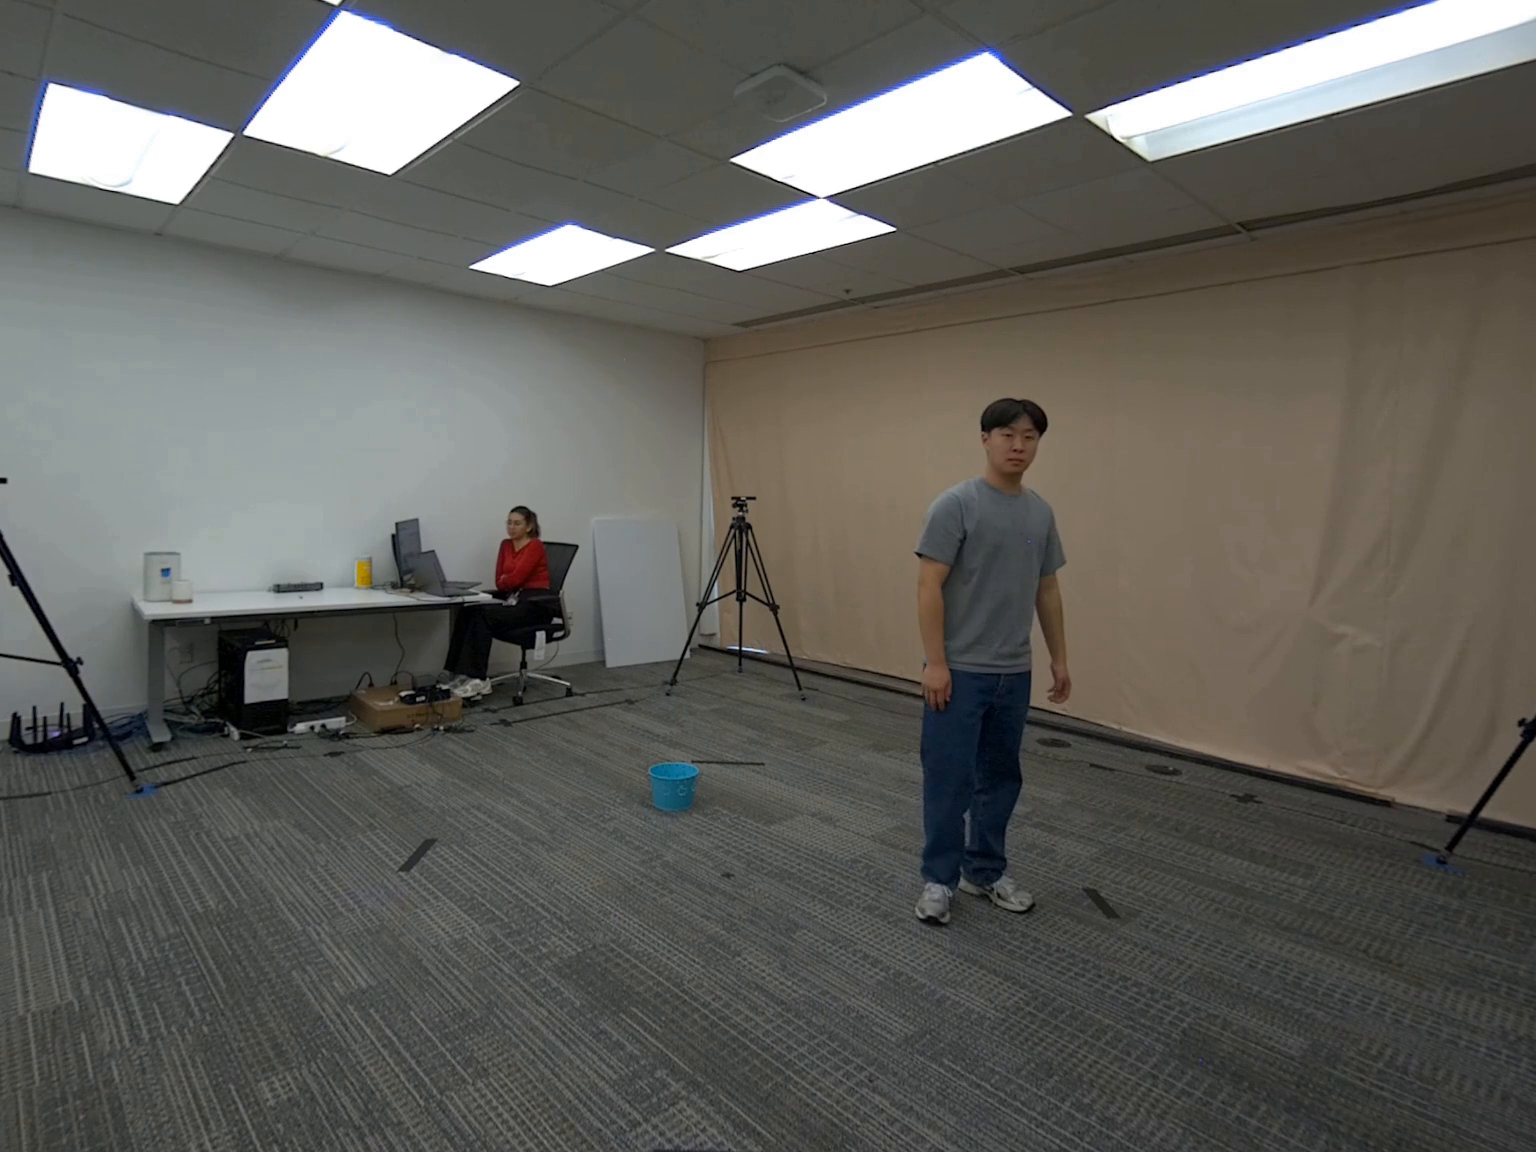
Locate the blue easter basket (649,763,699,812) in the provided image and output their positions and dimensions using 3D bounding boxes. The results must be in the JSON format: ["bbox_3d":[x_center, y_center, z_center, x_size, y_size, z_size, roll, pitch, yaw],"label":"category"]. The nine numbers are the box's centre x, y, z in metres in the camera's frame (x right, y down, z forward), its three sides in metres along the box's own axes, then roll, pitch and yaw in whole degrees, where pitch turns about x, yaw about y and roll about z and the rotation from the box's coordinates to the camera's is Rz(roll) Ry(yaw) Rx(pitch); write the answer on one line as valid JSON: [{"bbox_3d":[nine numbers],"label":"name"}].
[{"bbox_3d":[-0.436,0.958,3.833,0.243,0.155,0.244,1,5,-1],"label":"blue easter basket"}]
